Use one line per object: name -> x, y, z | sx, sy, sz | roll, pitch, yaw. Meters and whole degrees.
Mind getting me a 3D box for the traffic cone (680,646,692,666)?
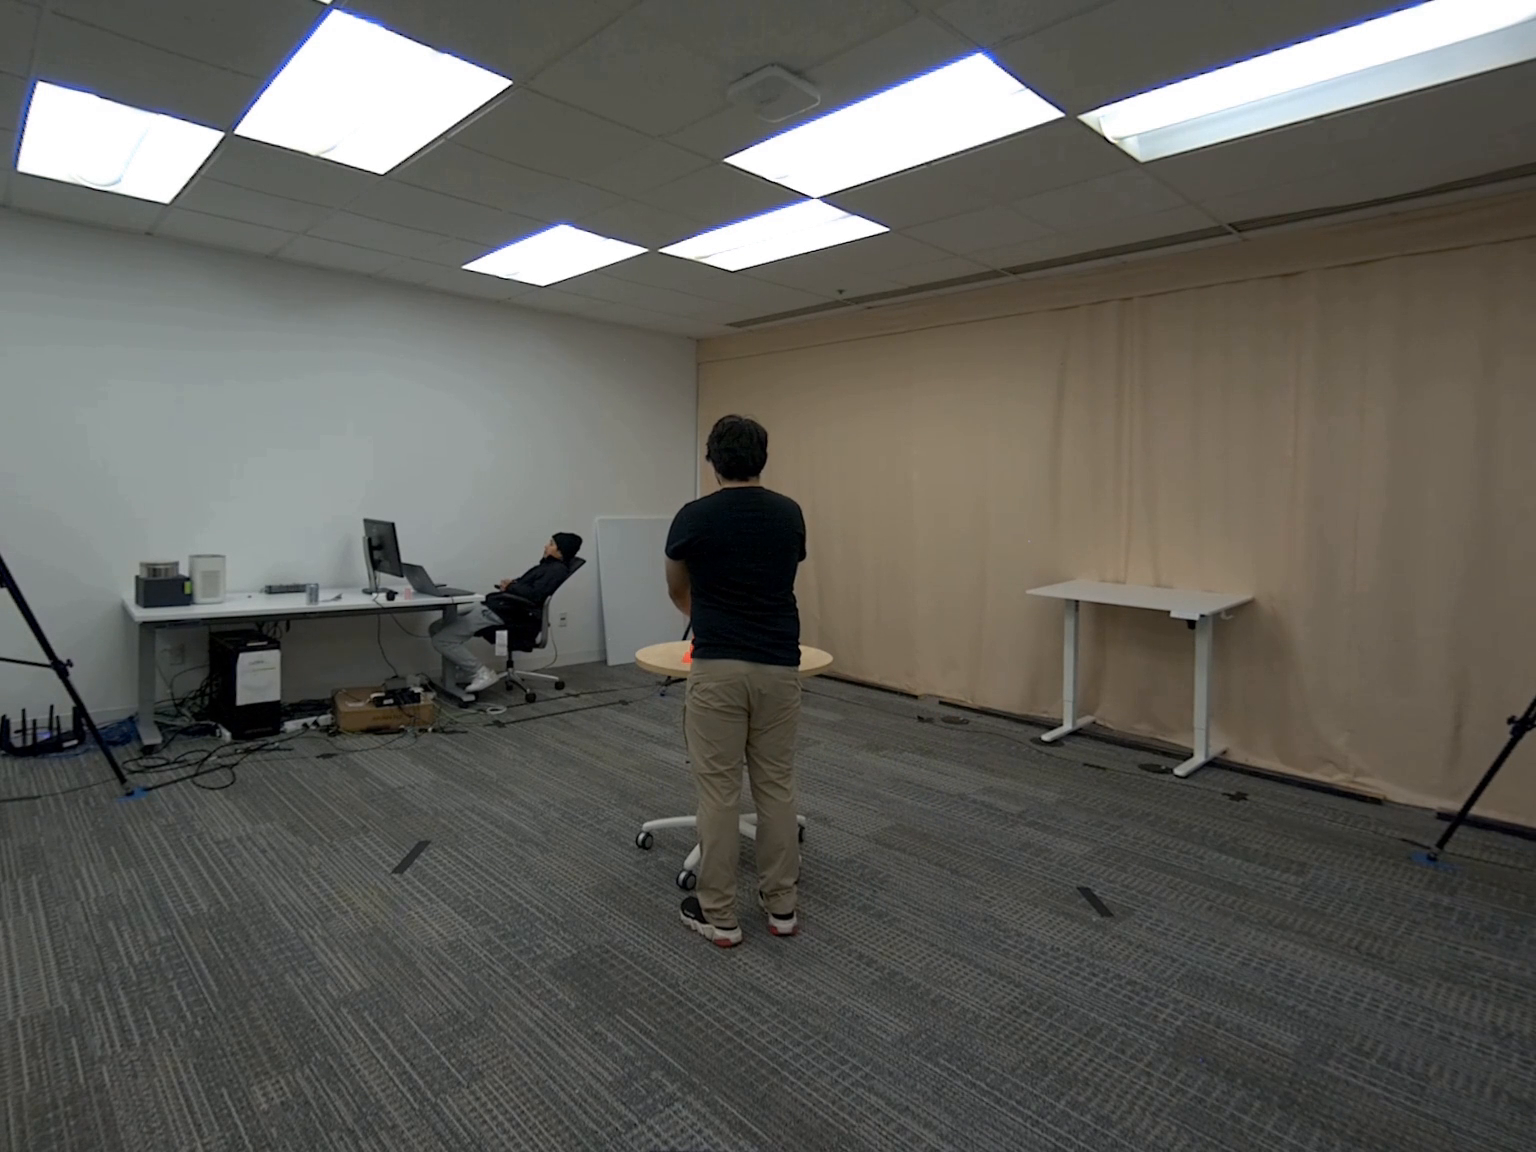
traffic cone -> -0.224, 0.130, 3.188 | 0.203, 0.383, 0.205 | 1, 1, -2
